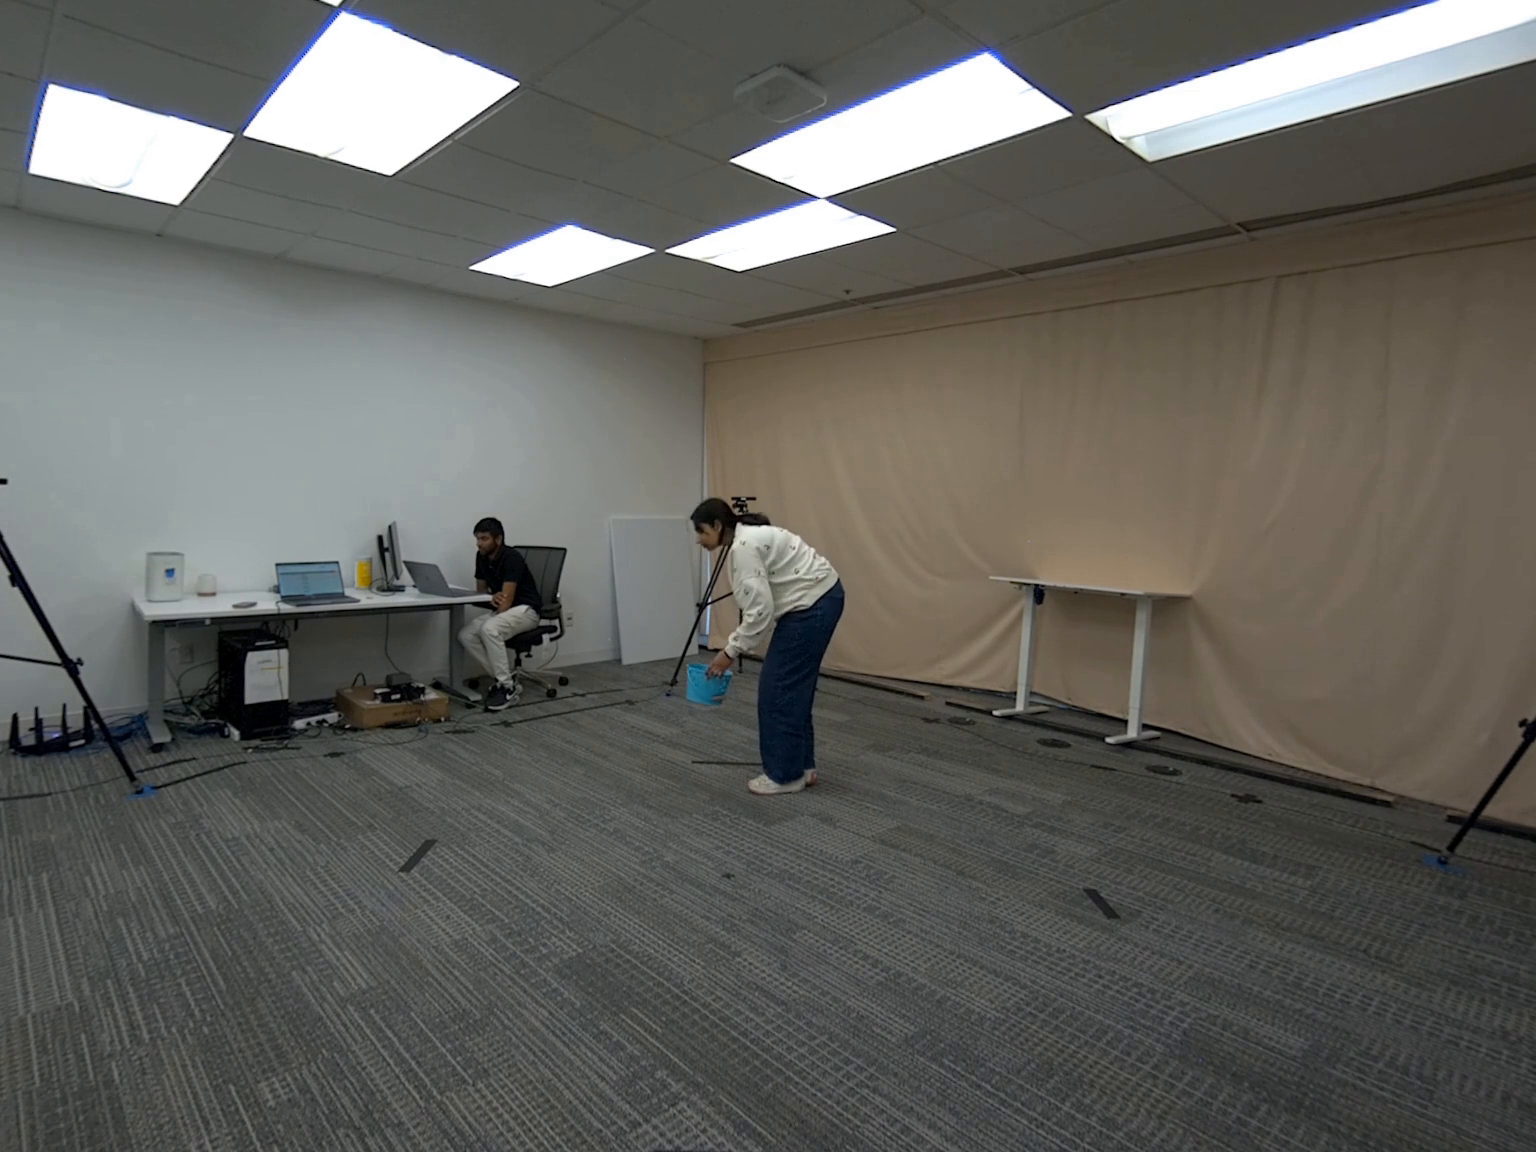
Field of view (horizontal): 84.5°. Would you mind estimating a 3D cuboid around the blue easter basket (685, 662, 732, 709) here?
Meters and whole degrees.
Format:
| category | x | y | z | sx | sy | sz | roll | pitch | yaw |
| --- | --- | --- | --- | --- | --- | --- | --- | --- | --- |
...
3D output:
| category | x | y | z | sx | sy | sz | roll | pitch | yaw |
| --- | --- | --- | --- | --- | --- | --- | --- | --- | --- |
| blue easter basket | -0.305 | 0.524 | 4.070 | 0.243 | 0.156 | 0.244 | 9 | 1 | -1 |
